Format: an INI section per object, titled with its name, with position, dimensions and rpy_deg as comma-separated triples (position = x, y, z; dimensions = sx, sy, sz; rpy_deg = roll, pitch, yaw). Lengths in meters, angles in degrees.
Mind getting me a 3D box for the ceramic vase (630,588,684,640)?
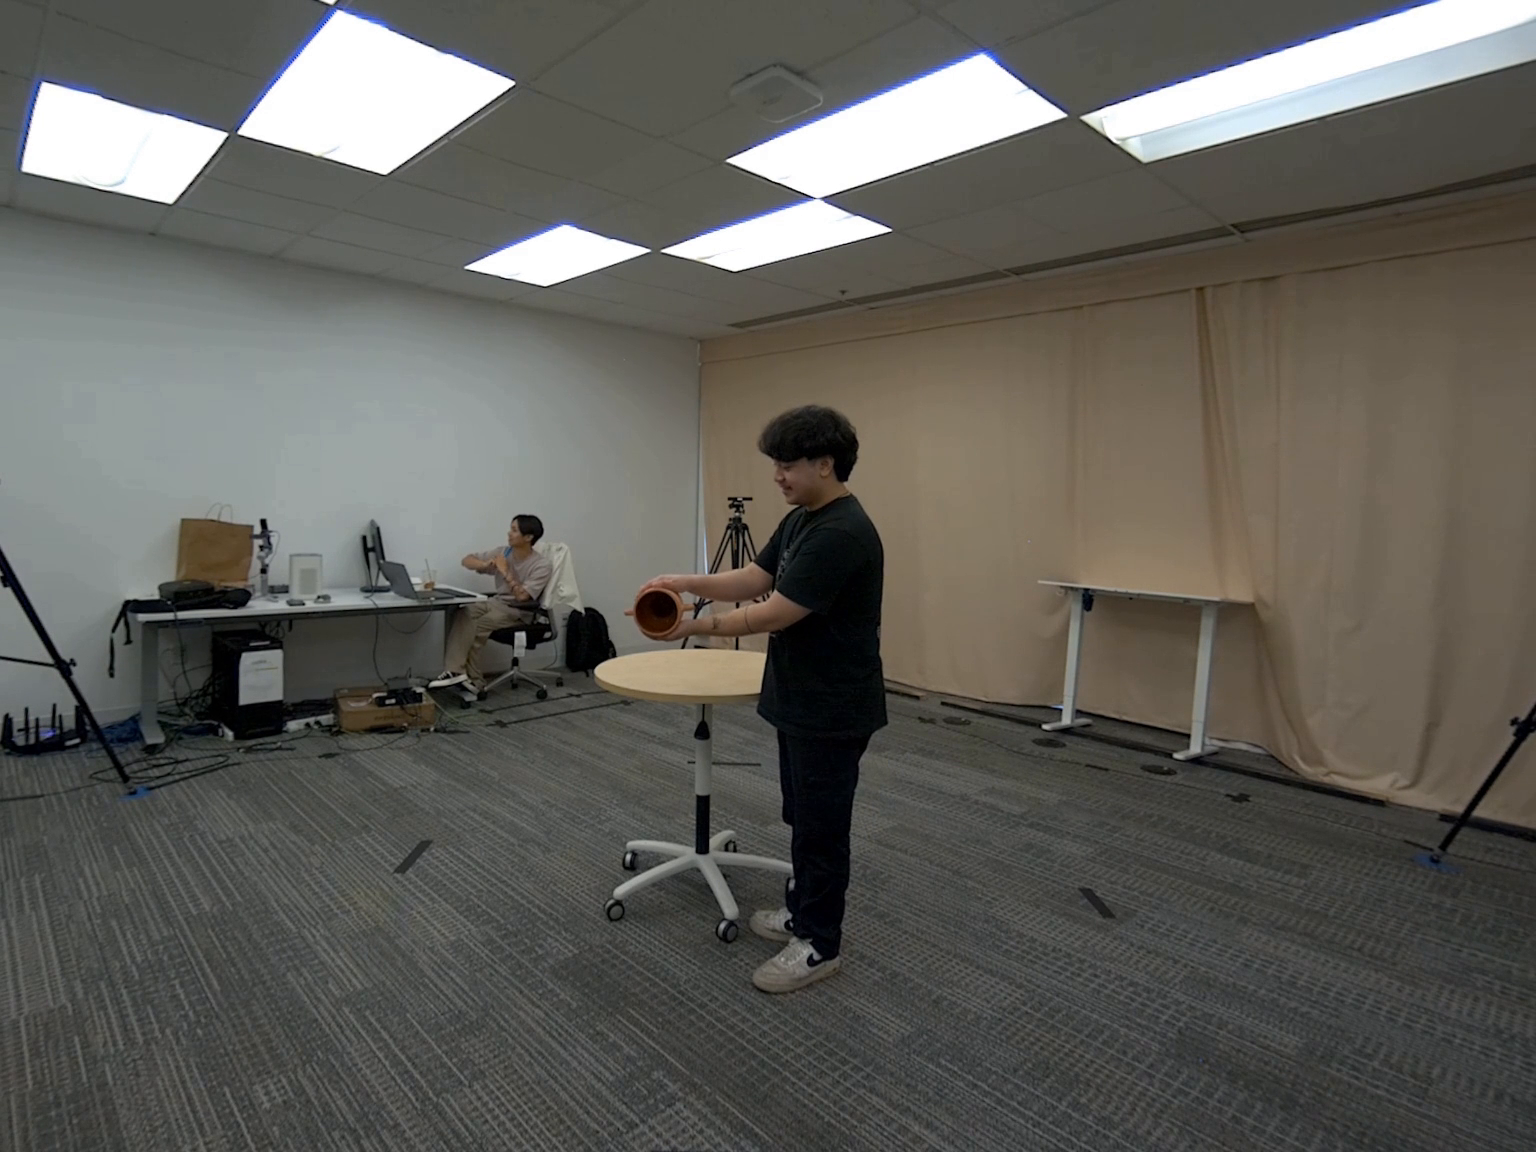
[ceramic vase]
position = -0.306, 0.090, 2.422
dimensions = 0.159, 0.134, 0.220
rpy_deg = 34, 3, -2
